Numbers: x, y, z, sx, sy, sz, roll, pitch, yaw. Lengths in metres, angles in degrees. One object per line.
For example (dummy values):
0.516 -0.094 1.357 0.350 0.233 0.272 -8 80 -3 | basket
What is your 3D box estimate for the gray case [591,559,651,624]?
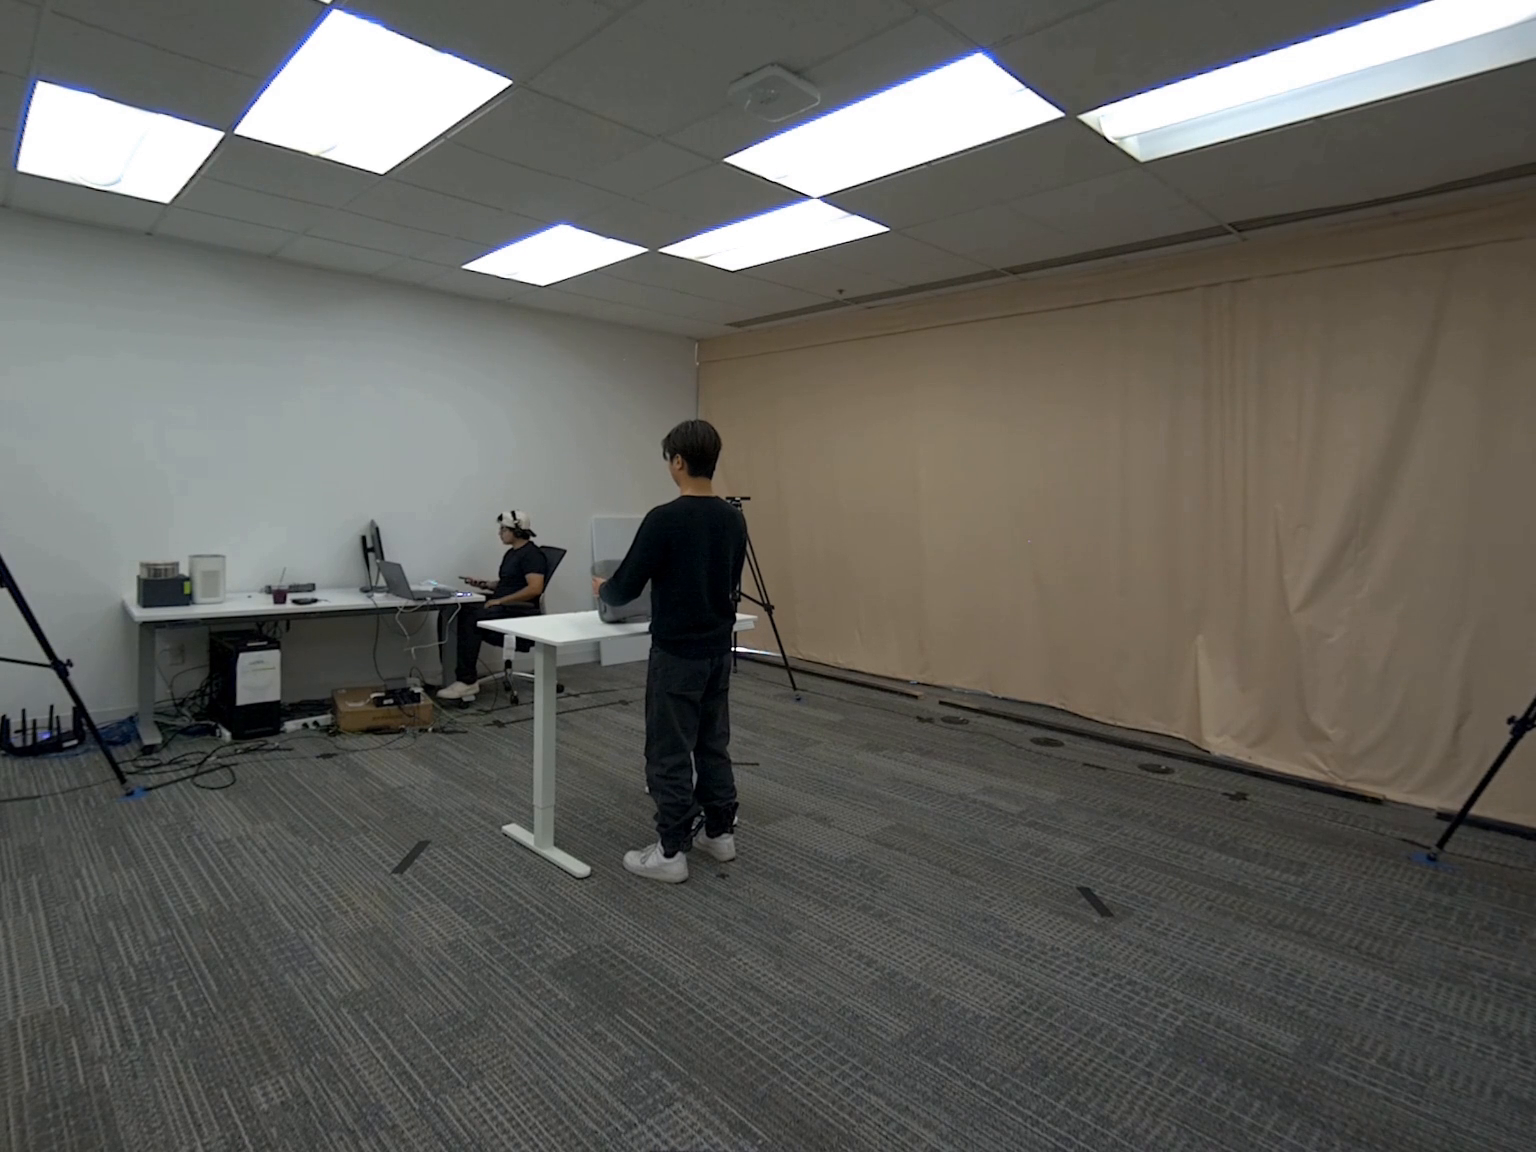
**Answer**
-0.590 0.057 3.440 0.251 0.263 0.106 -4 -14 -44 | gray case
